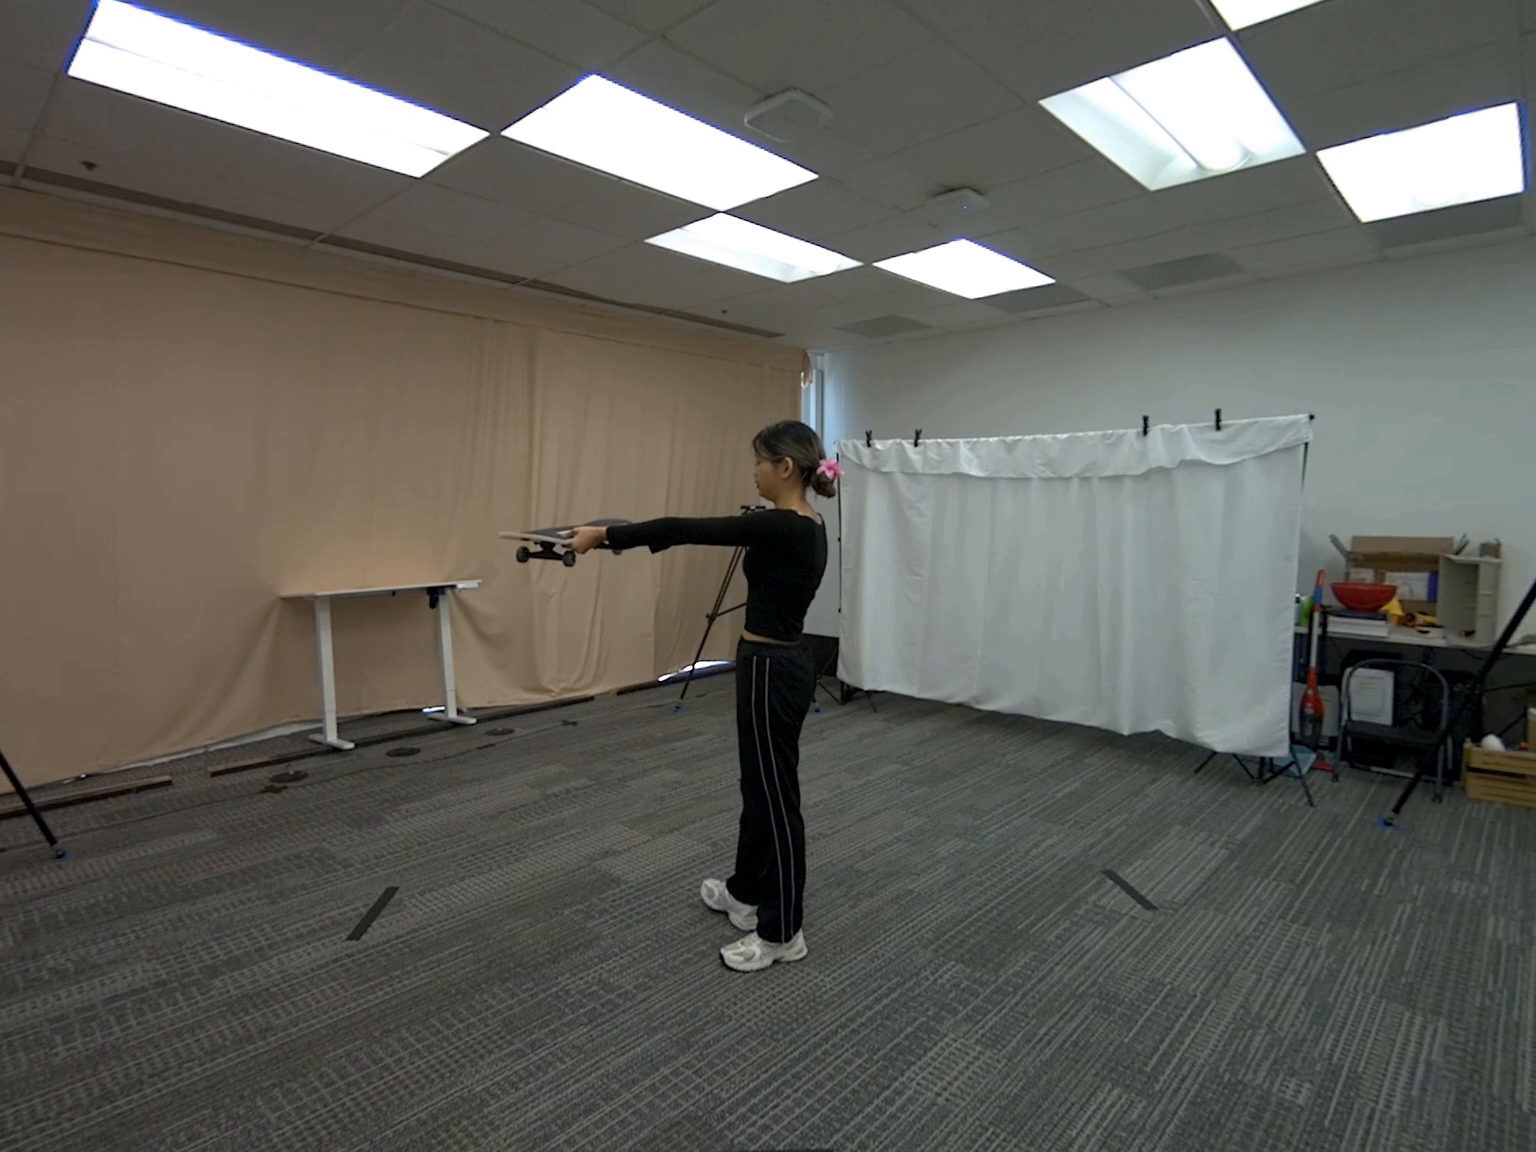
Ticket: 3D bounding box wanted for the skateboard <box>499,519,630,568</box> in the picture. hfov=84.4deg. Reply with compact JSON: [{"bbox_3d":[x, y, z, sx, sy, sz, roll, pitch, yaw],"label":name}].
[{"bbox_3d":[-0.621,-0.106,2.692,0.196,0.110,0.777,2,7,11],"label":"skateboard"}]
